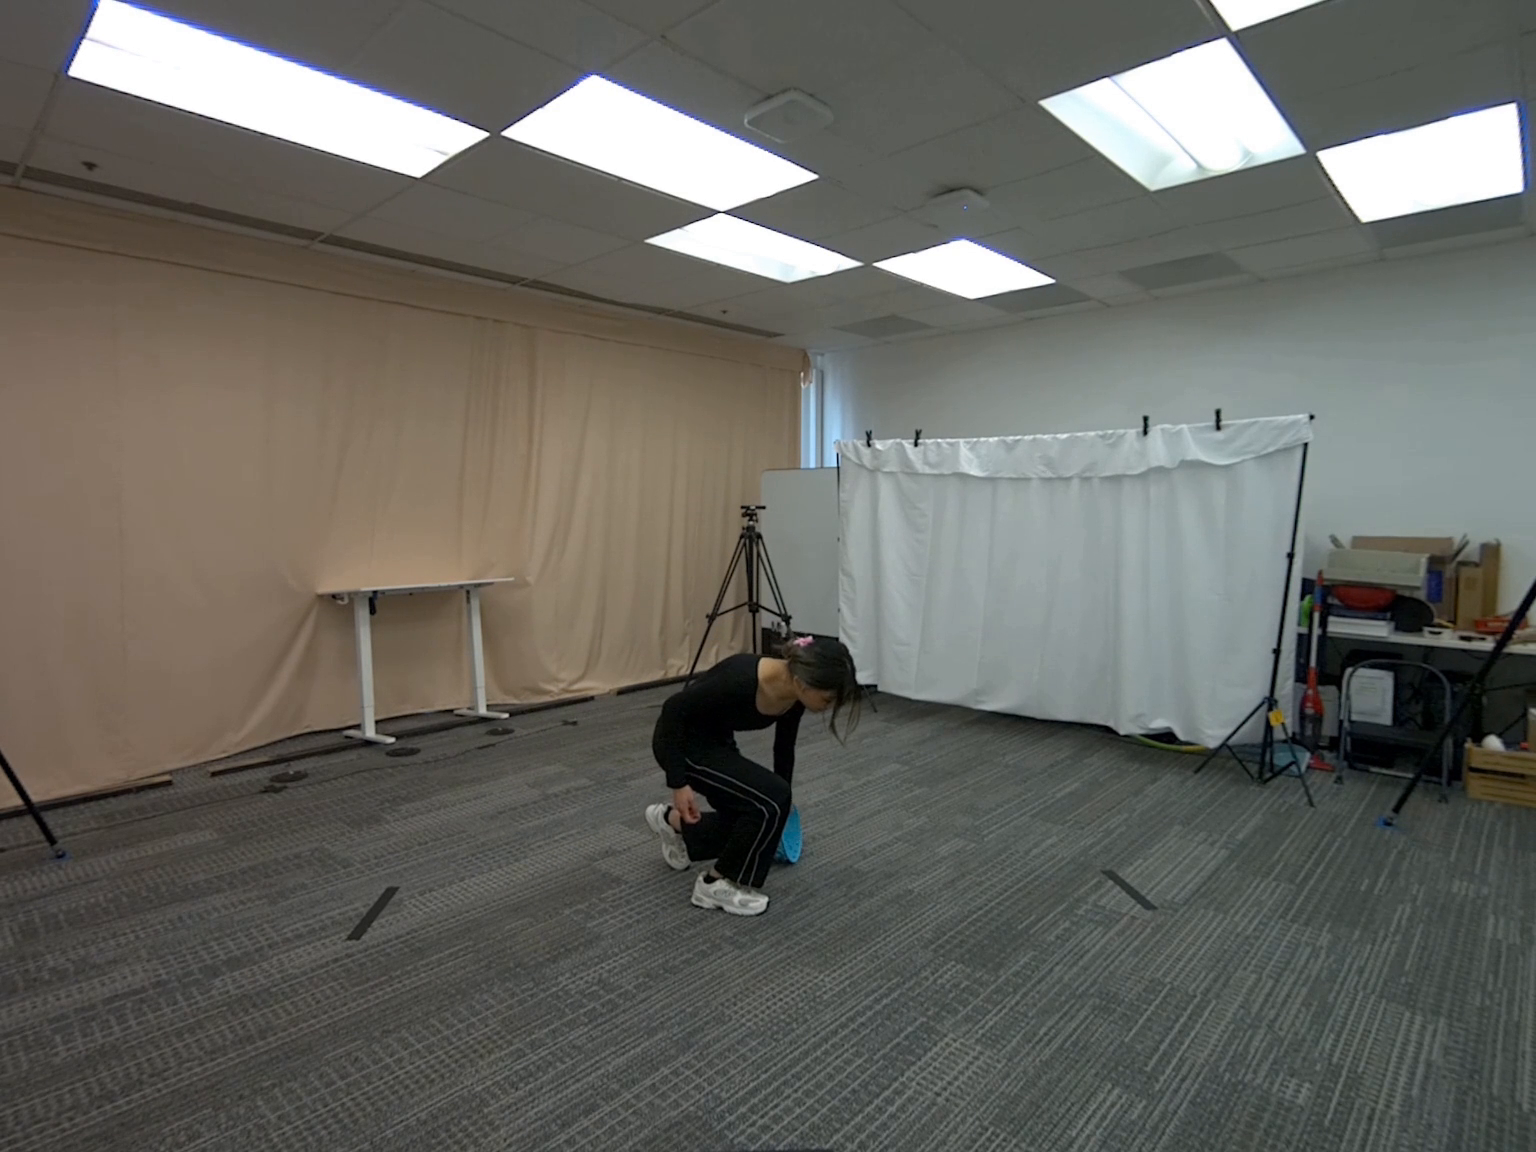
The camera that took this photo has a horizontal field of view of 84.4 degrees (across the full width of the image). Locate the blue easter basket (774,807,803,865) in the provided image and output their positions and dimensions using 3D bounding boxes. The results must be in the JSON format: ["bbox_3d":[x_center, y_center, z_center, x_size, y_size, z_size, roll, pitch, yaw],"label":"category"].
[{"bbox_3d":[0.028,1.003,3.327,0.159,0.243,0.239,-8,1,21],"label":"blue easter basket"}]
